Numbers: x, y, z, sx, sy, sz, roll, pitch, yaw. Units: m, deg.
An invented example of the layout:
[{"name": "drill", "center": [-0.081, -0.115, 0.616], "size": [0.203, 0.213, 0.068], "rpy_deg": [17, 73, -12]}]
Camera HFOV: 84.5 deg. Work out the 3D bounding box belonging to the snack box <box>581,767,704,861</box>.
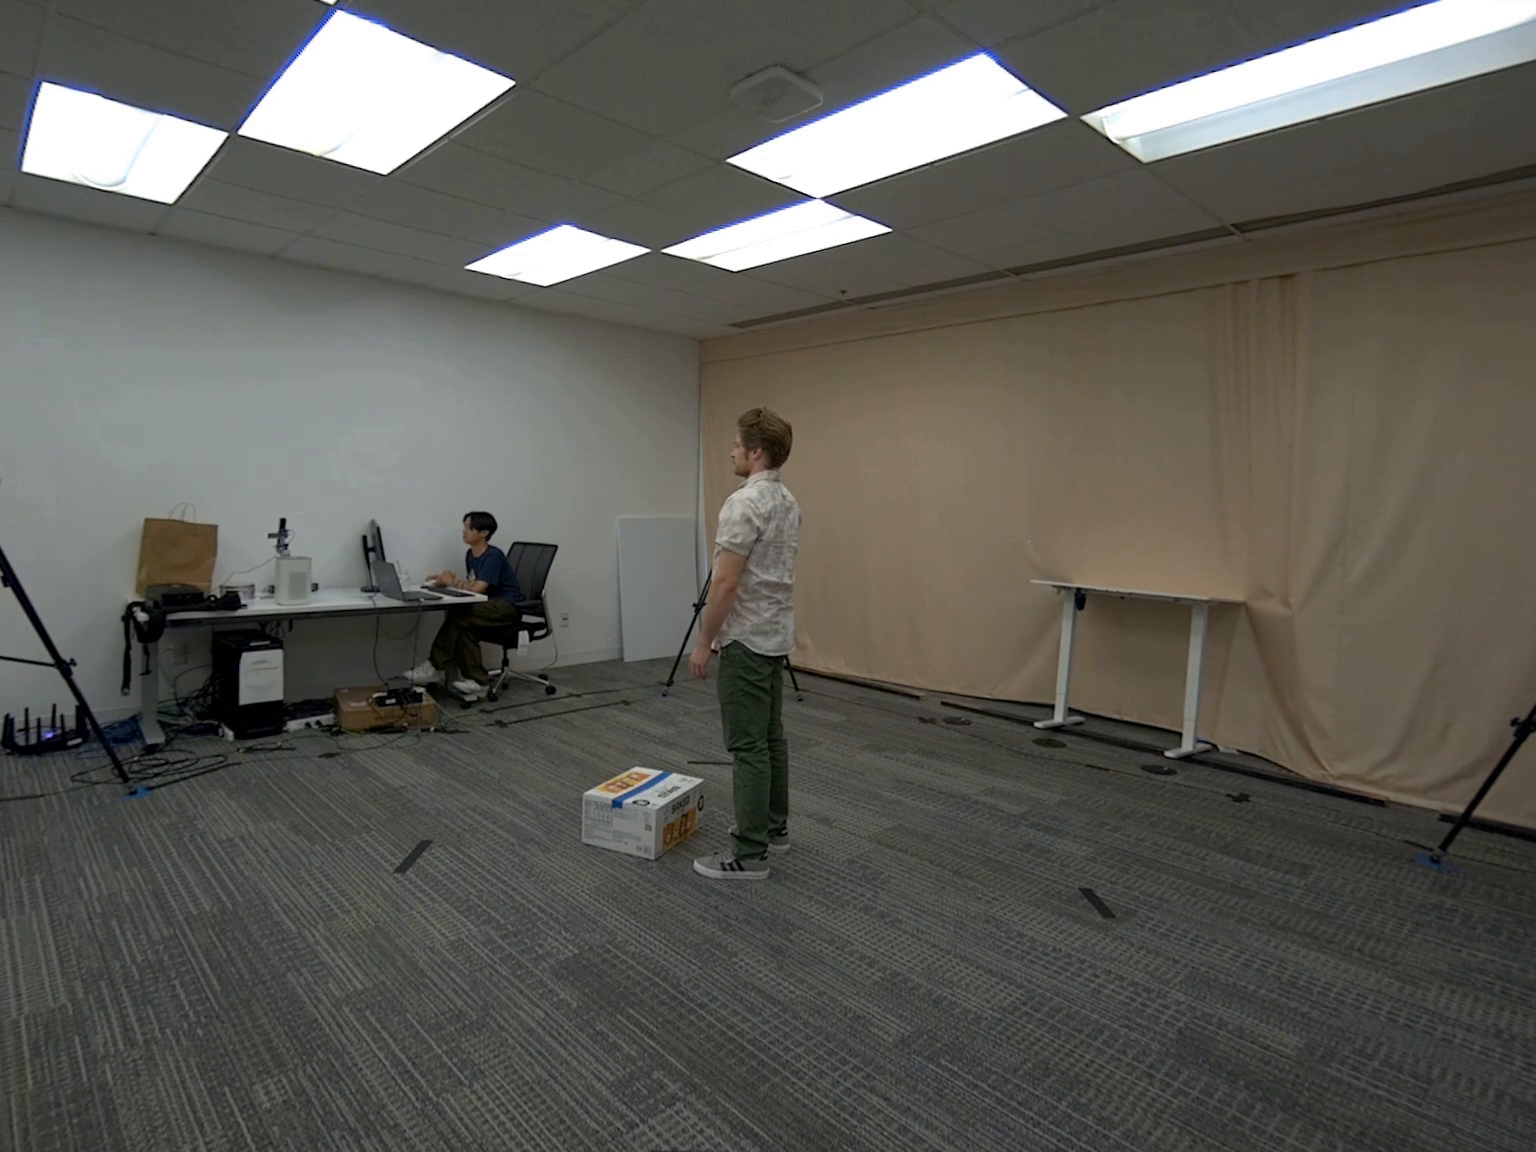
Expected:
[{"name": "snack box", "center": [-0.519, 0.967, 3.464], "size": [0.347, 0.205, 0.398], "rpy_deg": [3, 5, 24]}]
